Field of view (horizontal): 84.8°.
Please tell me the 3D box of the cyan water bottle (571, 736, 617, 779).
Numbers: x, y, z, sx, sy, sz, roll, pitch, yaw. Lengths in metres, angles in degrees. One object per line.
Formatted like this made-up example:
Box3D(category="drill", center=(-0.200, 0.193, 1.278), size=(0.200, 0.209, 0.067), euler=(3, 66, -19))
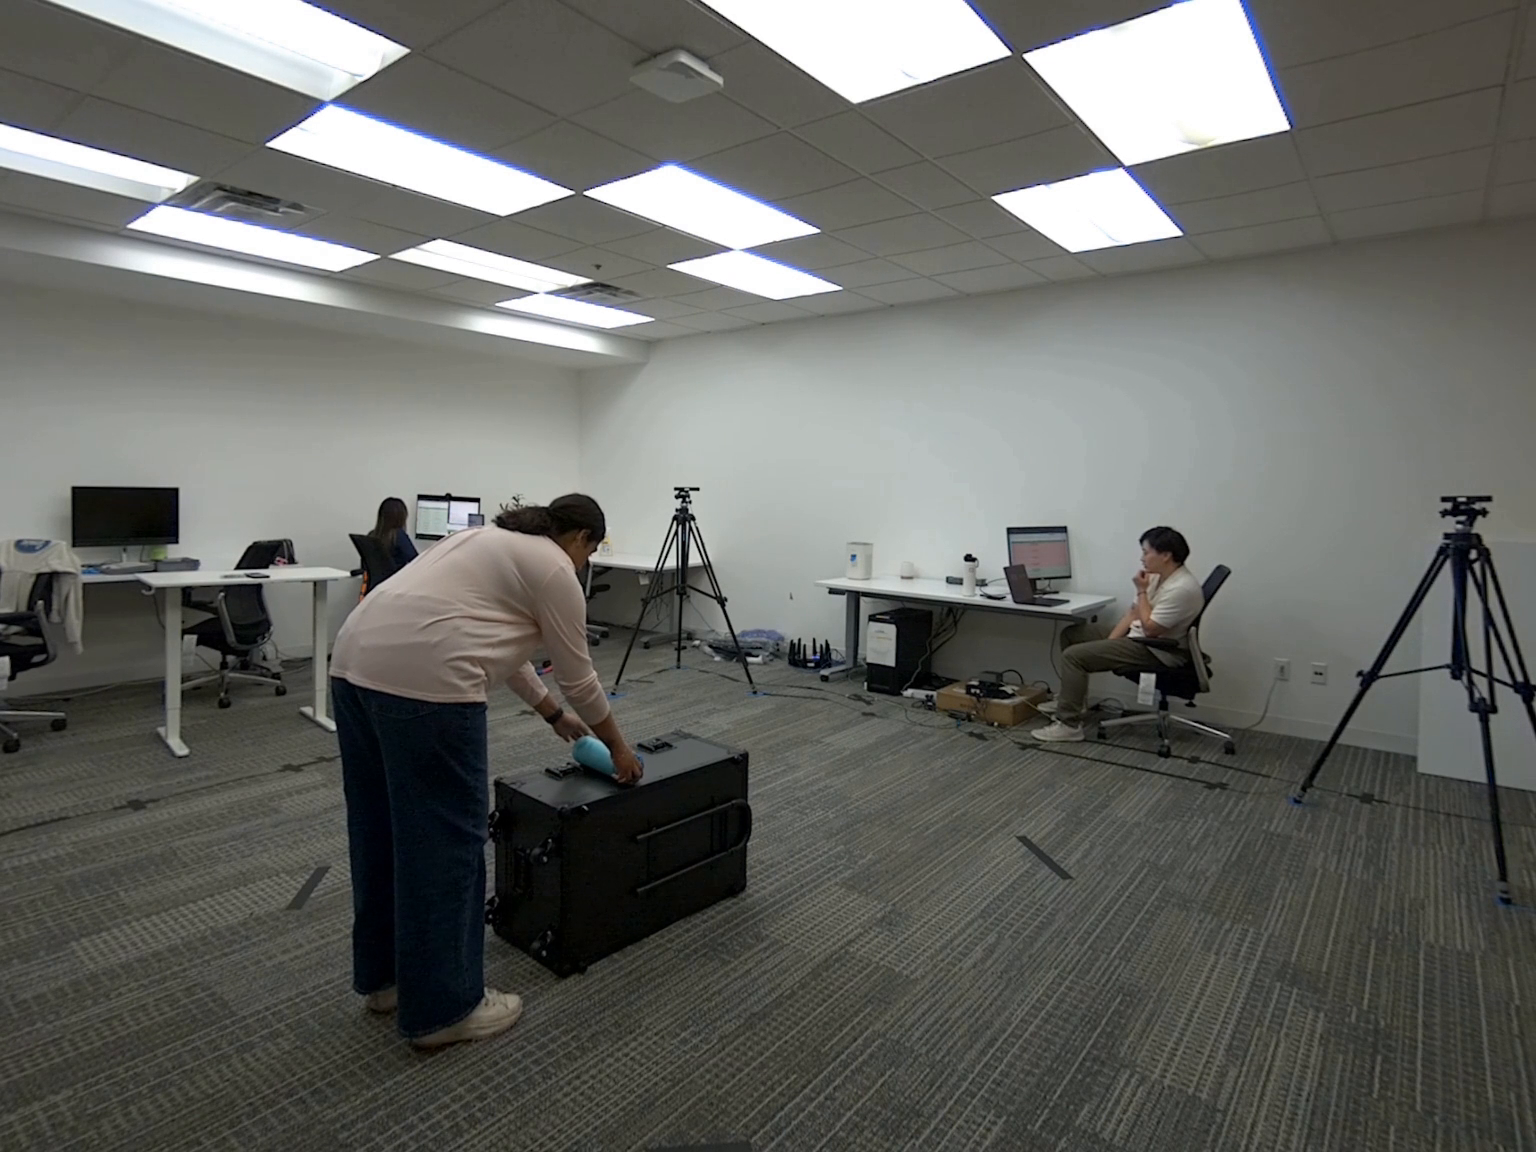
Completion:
Box3D(category="cyan water bottle", center=(-0.503, 0.574, 2.680), size=(0.293, 0.092, 0.089), euler=(6, 7, 43))
